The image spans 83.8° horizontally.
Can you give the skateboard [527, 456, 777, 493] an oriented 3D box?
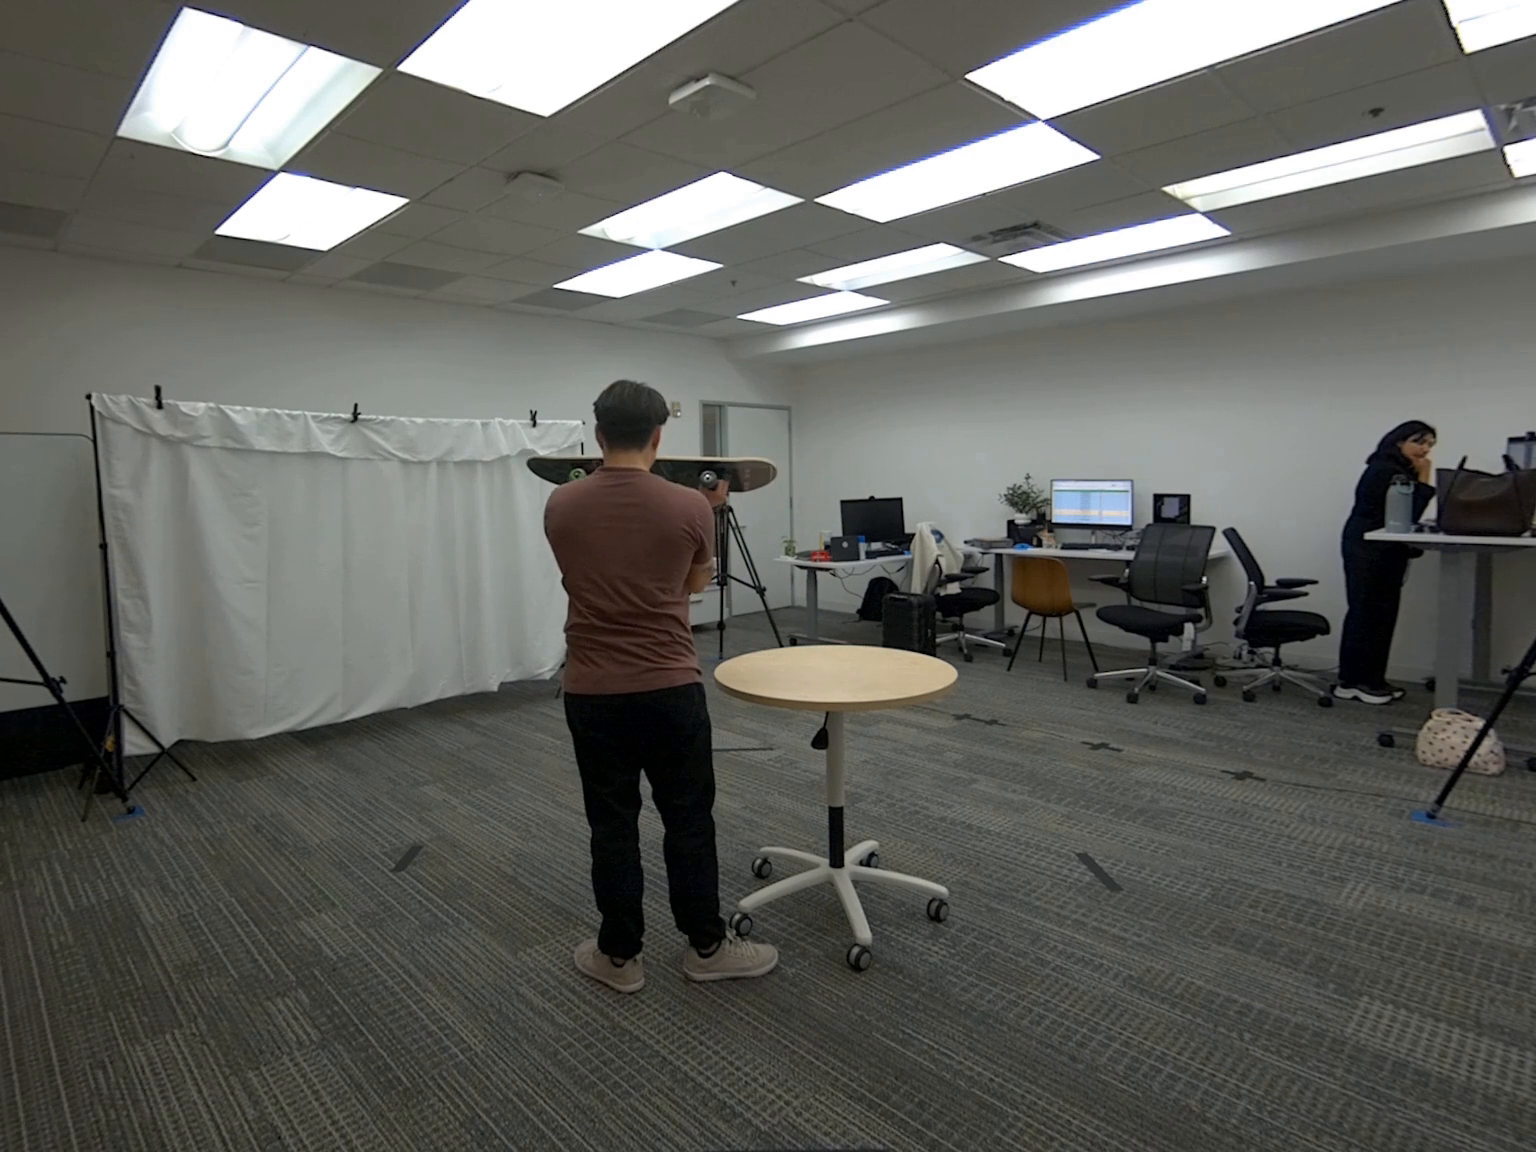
[{"bbox_3d":[-0.366,-0.288,2.634,0.792,0.112,0.188,2,-25,8],"label":"skateboard"}]
